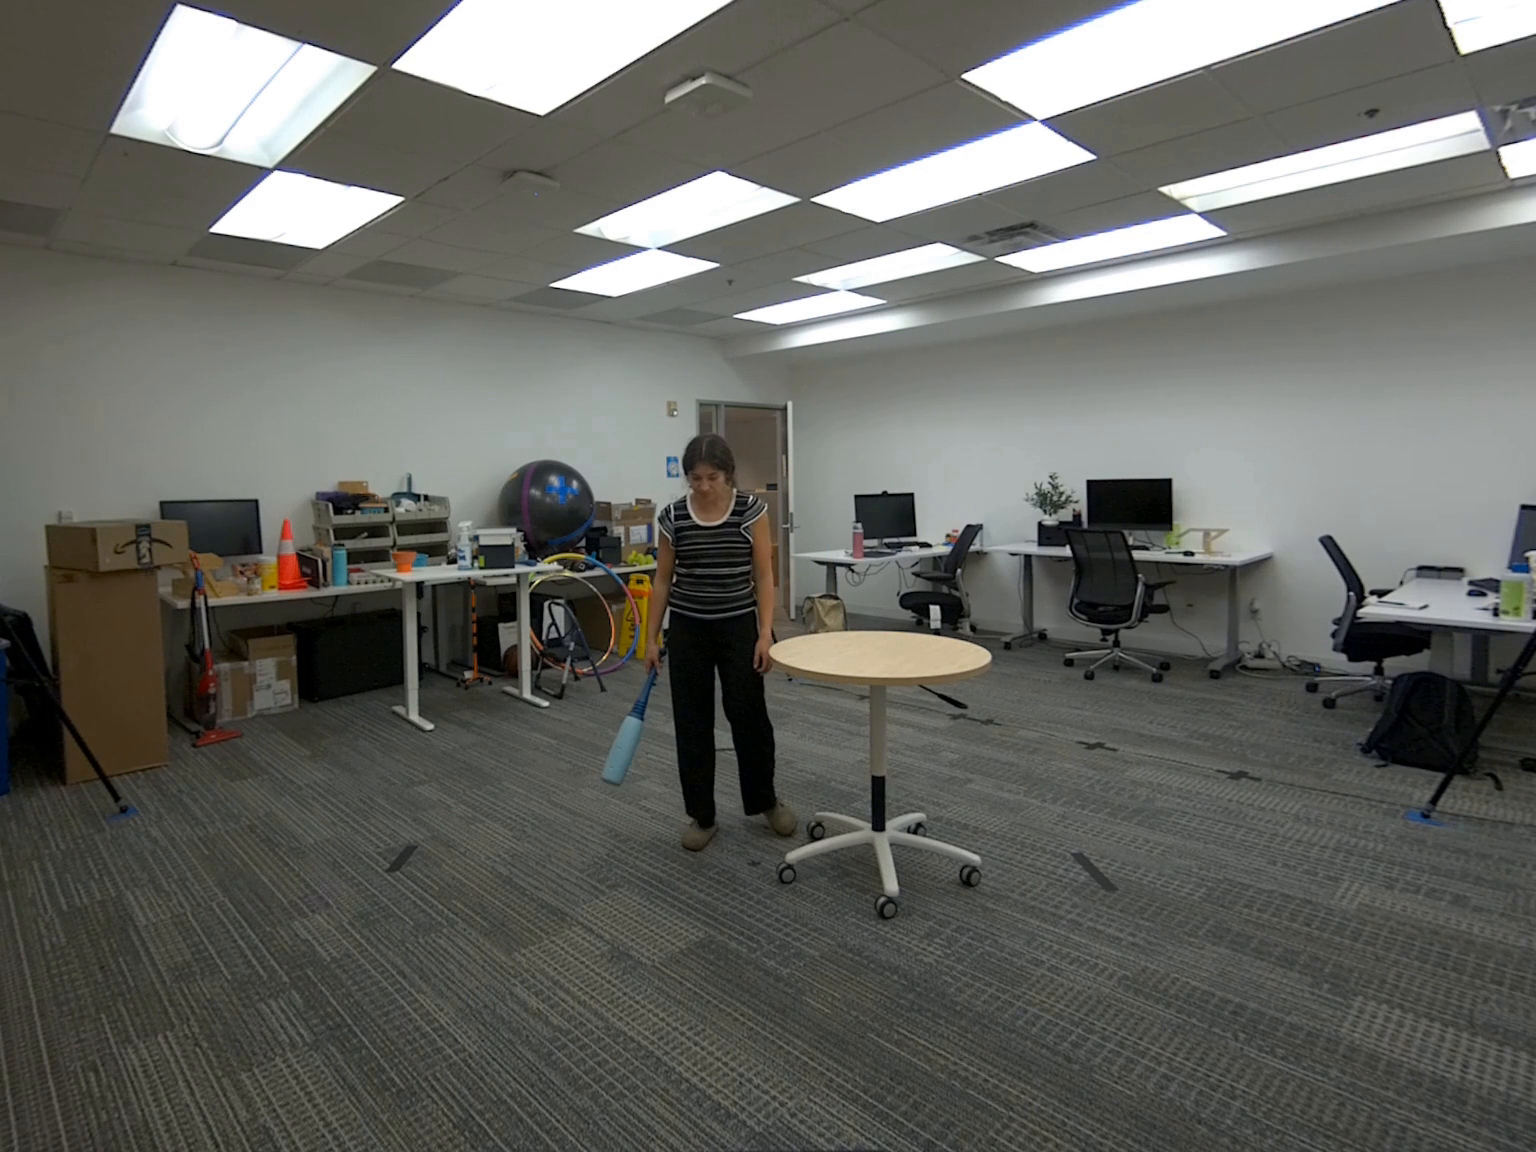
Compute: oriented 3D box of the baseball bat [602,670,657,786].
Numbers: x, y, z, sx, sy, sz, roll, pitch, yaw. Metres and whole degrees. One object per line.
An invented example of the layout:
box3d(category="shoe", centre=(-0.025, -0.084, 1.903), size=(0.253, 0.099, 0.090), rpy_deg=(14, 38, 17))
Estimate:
box3d(category="baseball bat", centre=(-0.487, 0.522, 3.209), size=(0.090, 0.549, 0.087), rpy_deg=(16, -22, 5))
